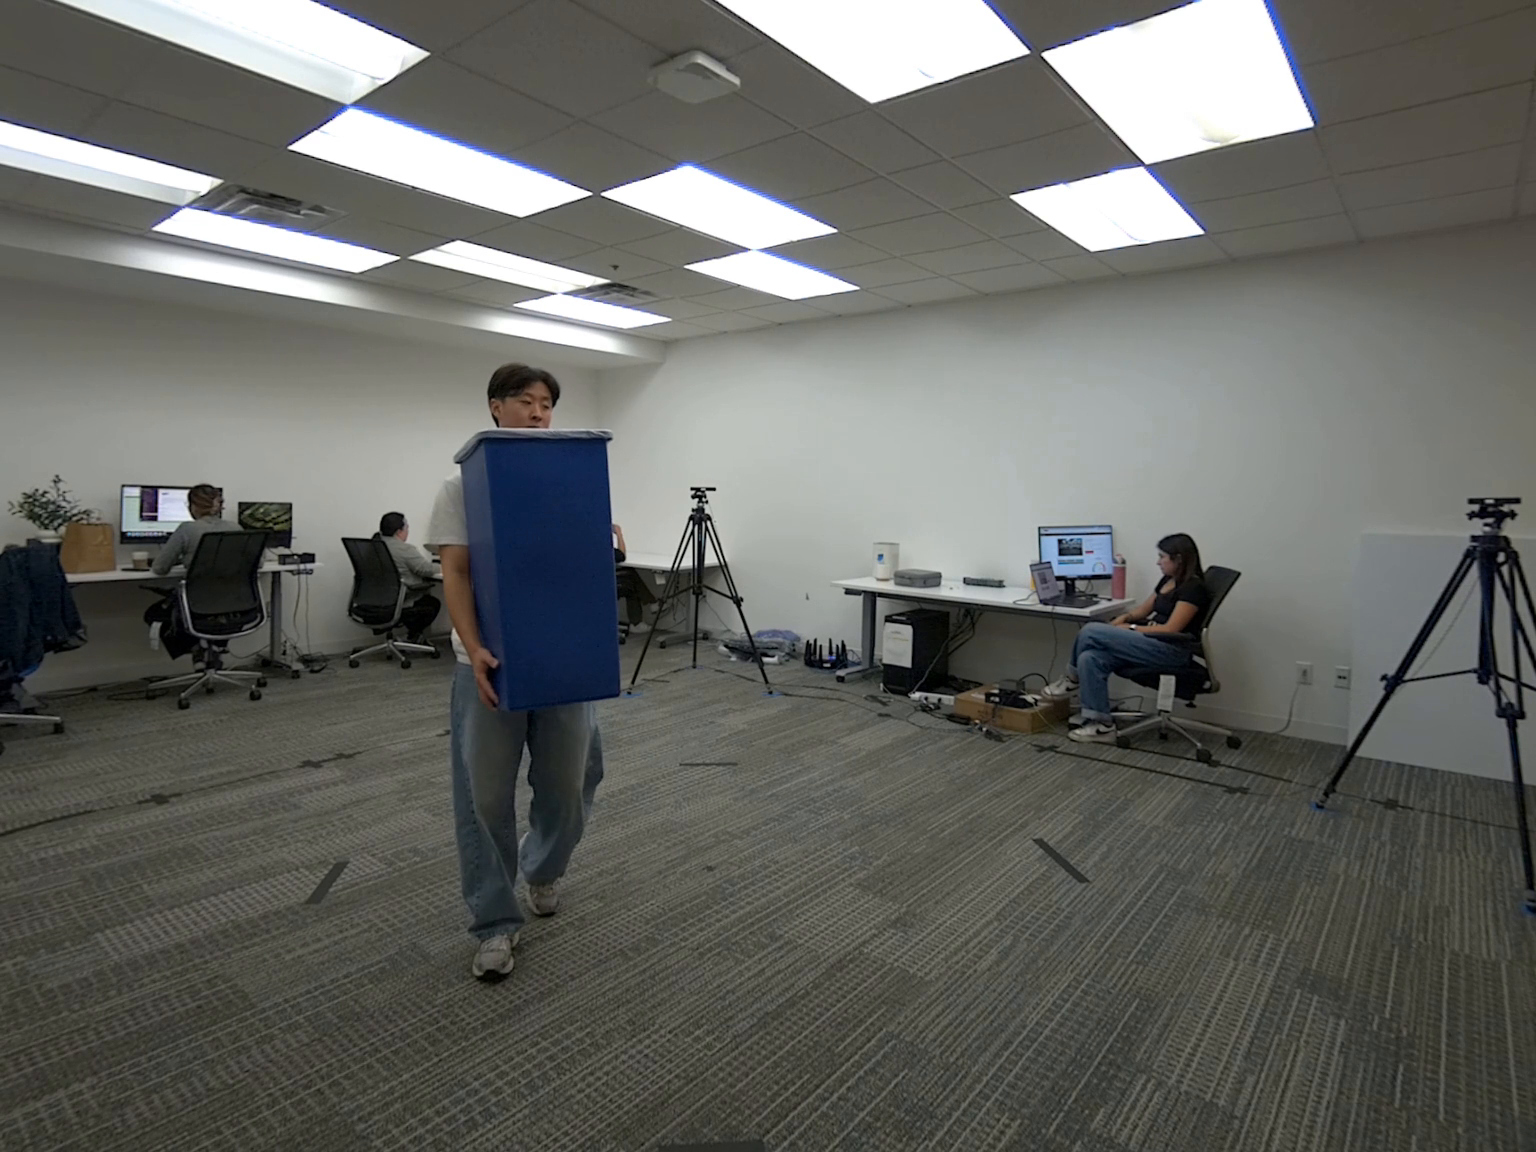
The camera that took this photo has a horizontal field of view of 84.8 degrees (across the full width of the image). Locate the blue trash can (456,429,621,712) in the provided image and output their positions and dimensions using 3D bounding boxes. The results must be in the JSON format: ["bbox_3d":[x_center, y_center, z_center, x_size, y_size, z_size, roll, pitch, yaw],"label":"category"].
[{"bbox_3d":[-0.635,-0.020,2.339,0.365,0.718,0.385,-2,-6,-28],"label":"blue trash can"}]
